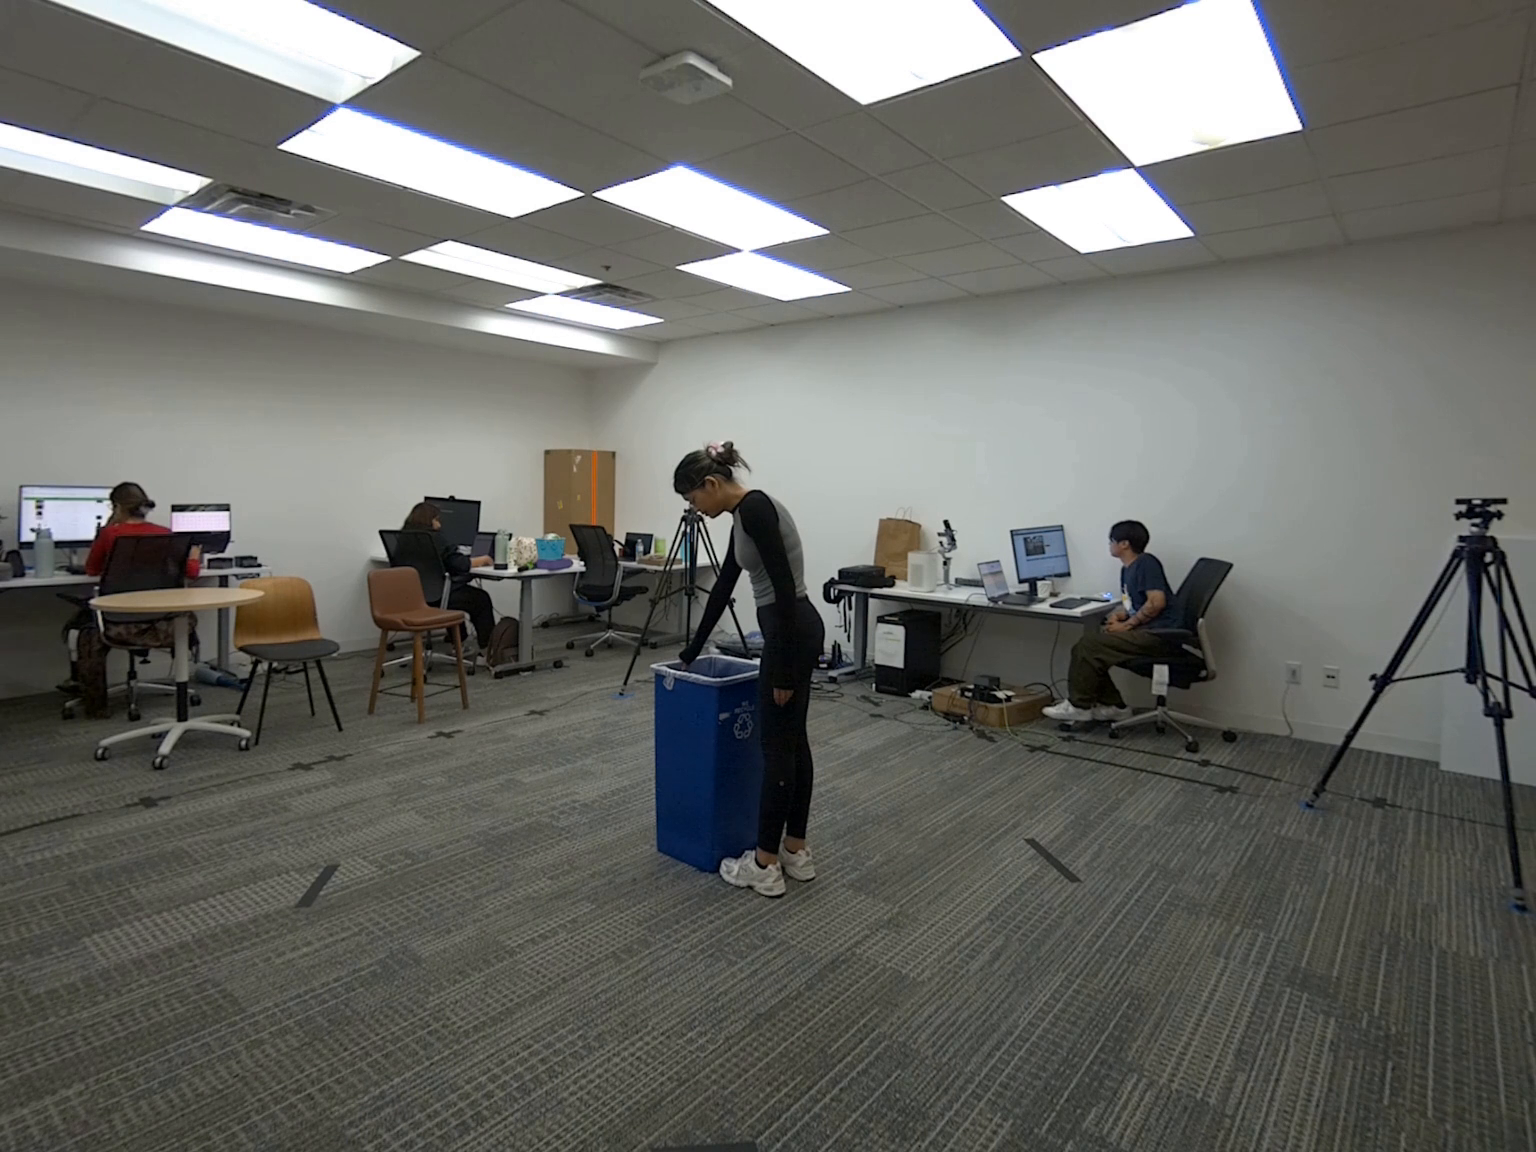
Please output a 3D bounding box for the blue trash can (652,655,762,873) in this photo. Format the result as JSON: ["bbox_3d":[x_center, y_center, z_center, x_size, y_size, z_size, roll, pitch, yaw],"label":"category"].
[{"bbox_3d":[-0.223,0.697,3.270,0.391,0.711,0.363,4,4,40],"label":"blue trash can"}]
